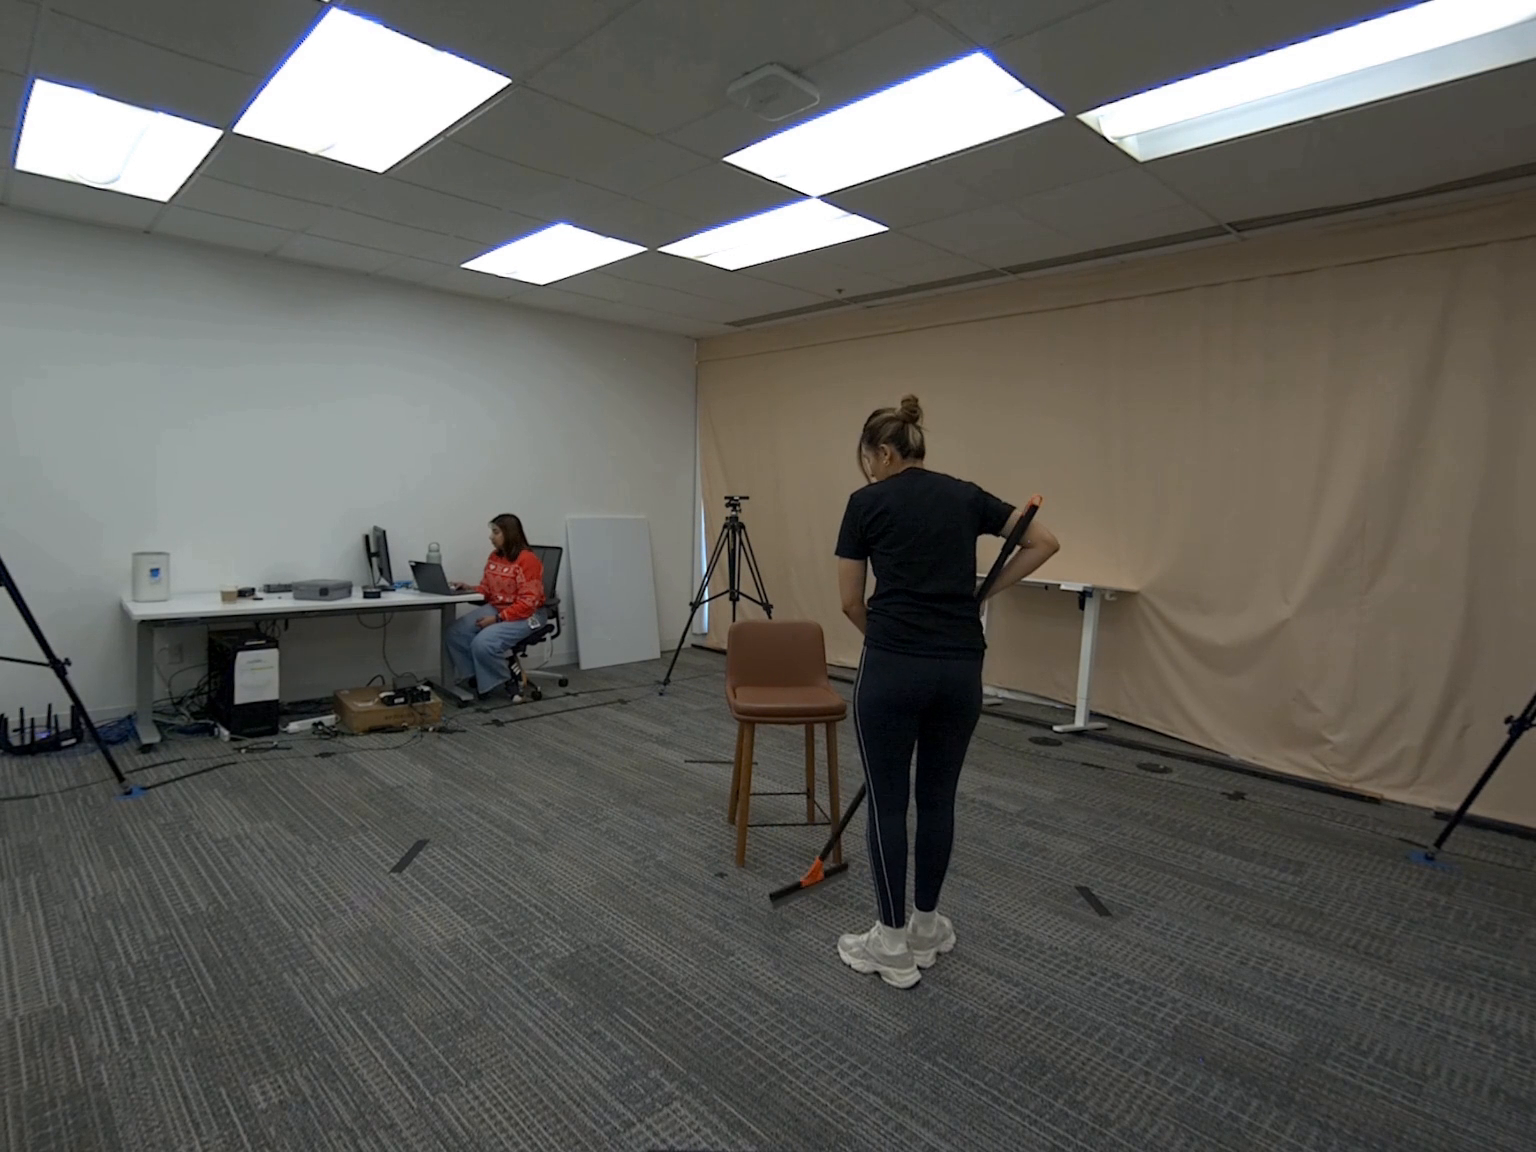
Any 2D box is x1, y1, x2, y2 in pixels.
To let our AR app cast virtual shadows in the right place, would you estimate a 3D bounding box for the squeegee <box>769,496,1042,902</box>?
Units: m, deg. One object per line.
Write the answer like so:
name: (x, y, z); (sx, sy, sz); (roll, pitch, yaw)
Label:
squeegee: (0.450, 0.437, 2.658); (0.426, 1.530, 0.054); (7, 29, -47)
